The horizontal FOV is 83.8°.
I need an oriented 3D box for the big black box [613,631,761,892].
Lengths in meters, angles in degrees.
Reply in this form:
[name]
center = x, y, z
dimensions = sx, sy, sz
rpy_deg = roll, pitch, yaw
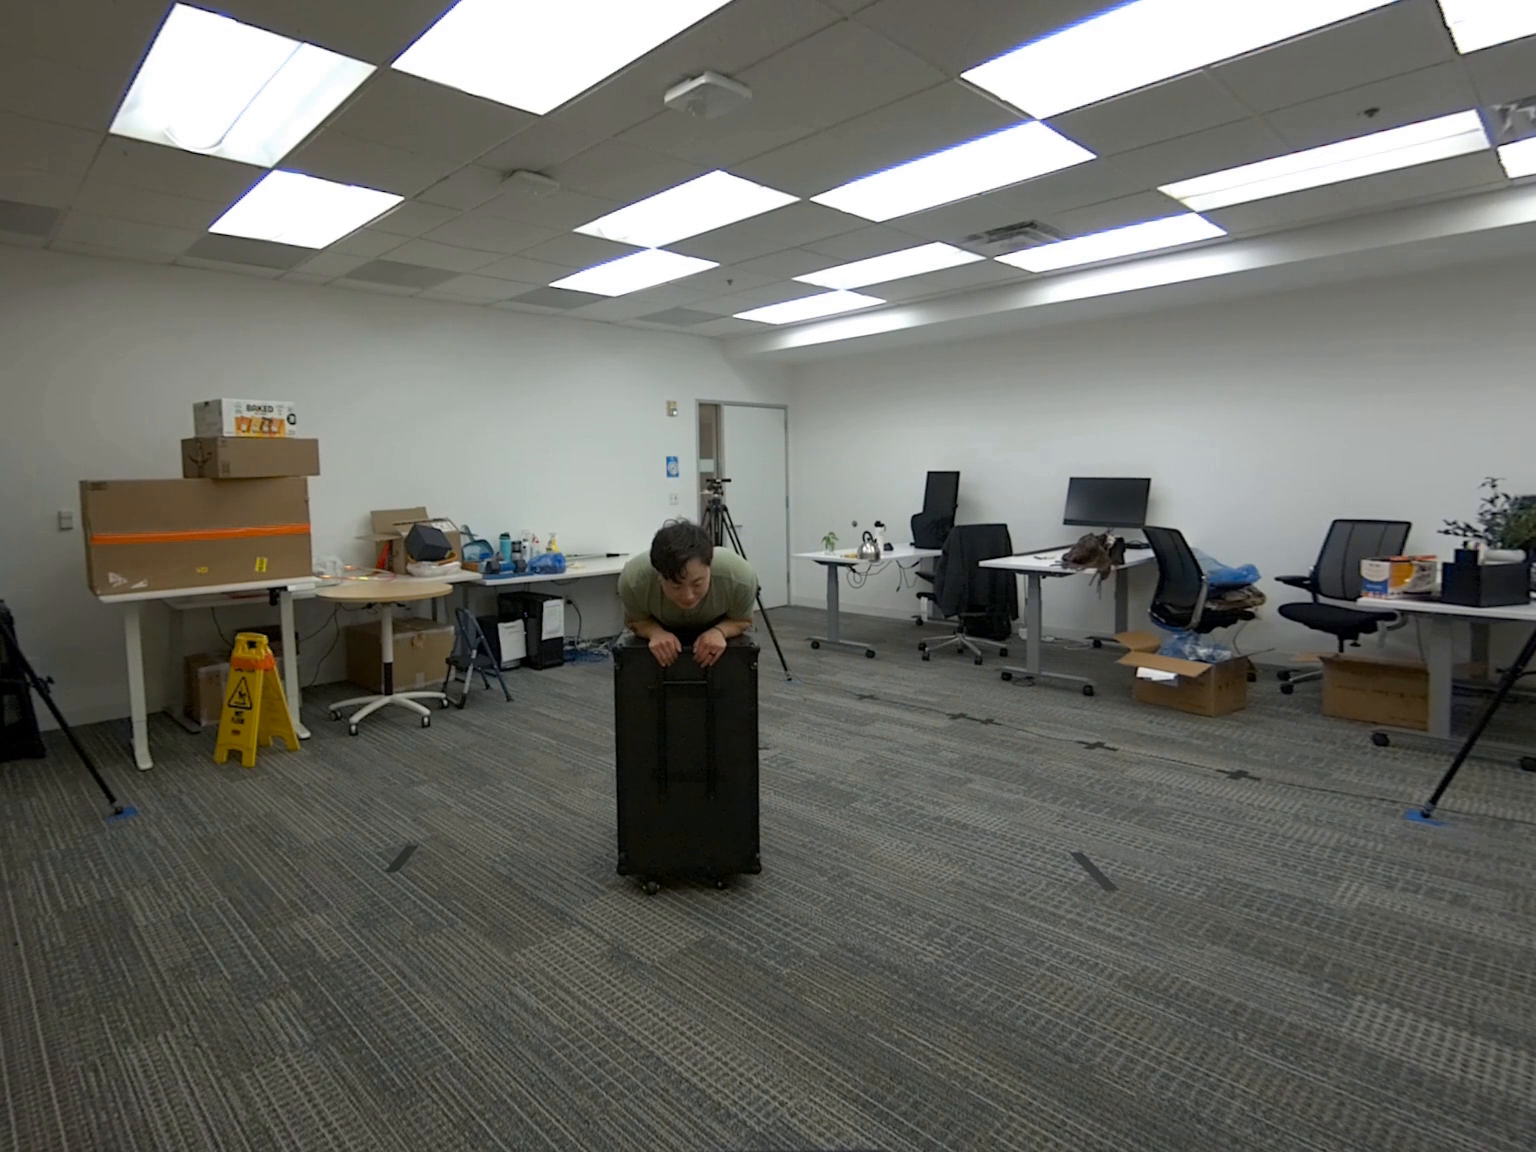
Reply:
[big black box]
center = -0.270, 0.645, 3.004
dimensions = 0.521, 0.858, 0.398
rpy_deg = 0, 4, -2
